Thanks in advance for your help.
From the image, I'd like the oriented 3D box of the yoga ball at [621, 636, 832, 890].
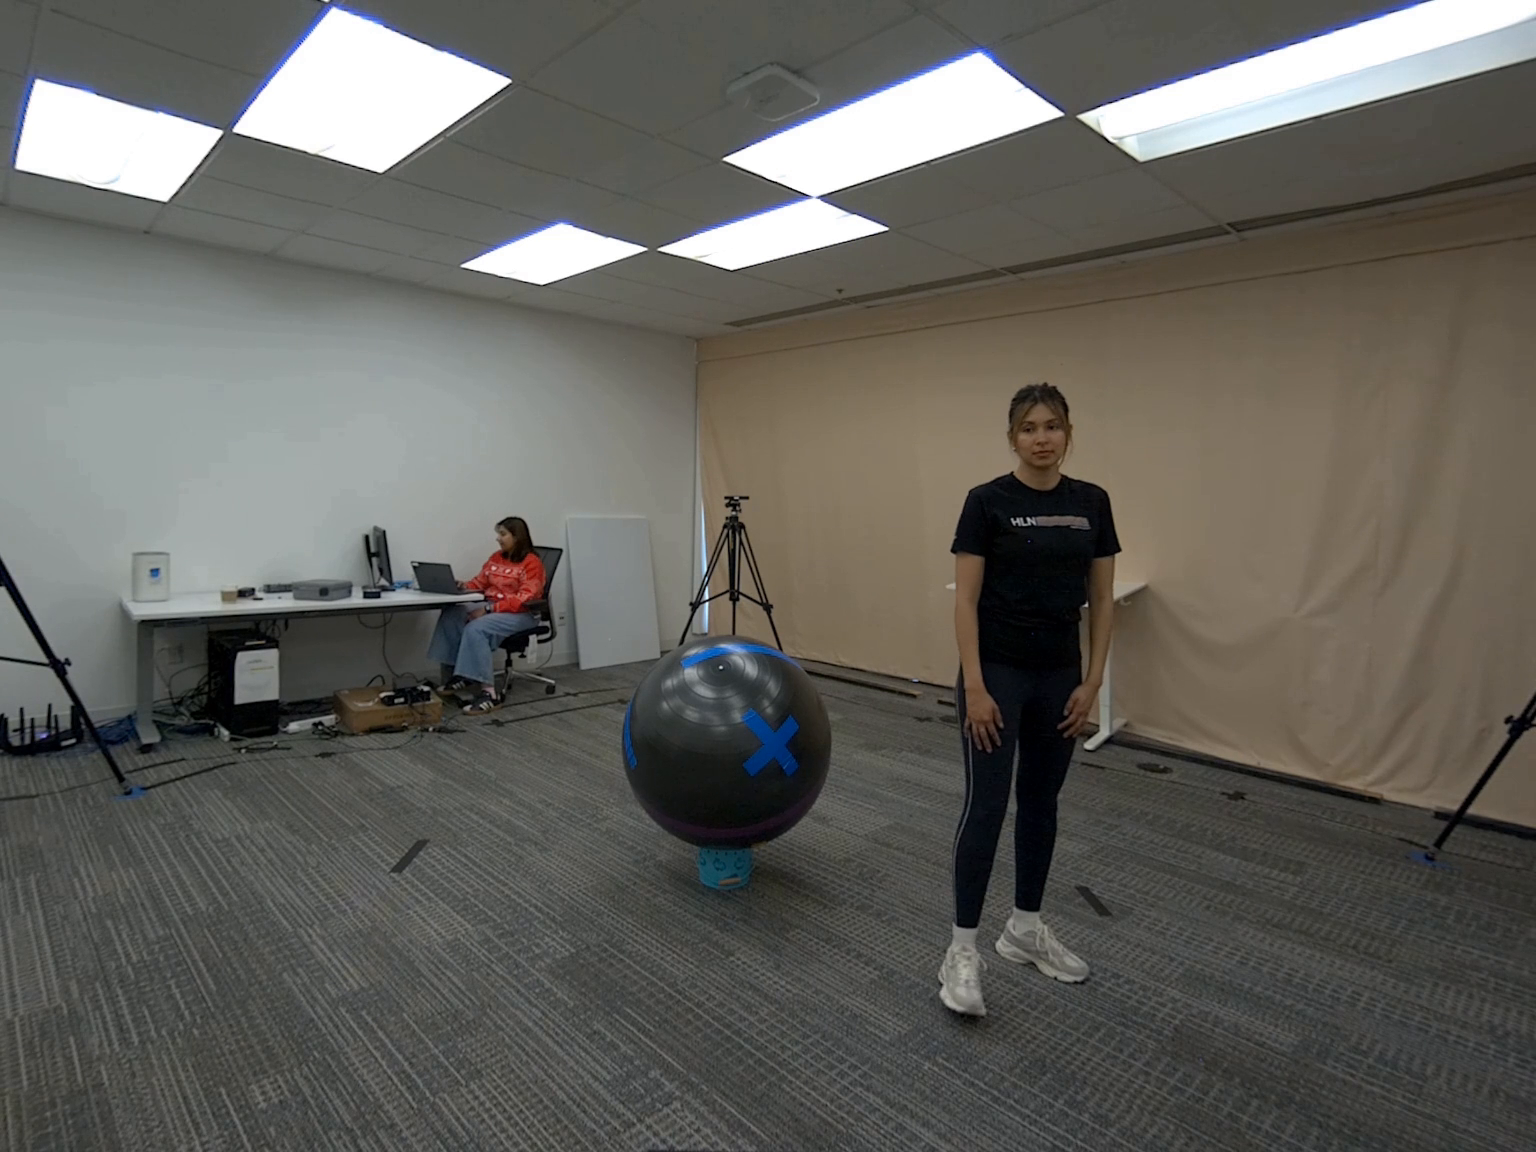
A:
[{"bbox_3d":[-0.156,0.598,3.049,0.757,0.756,0.761,1,4,-1],"label":"yoga ball"}]
